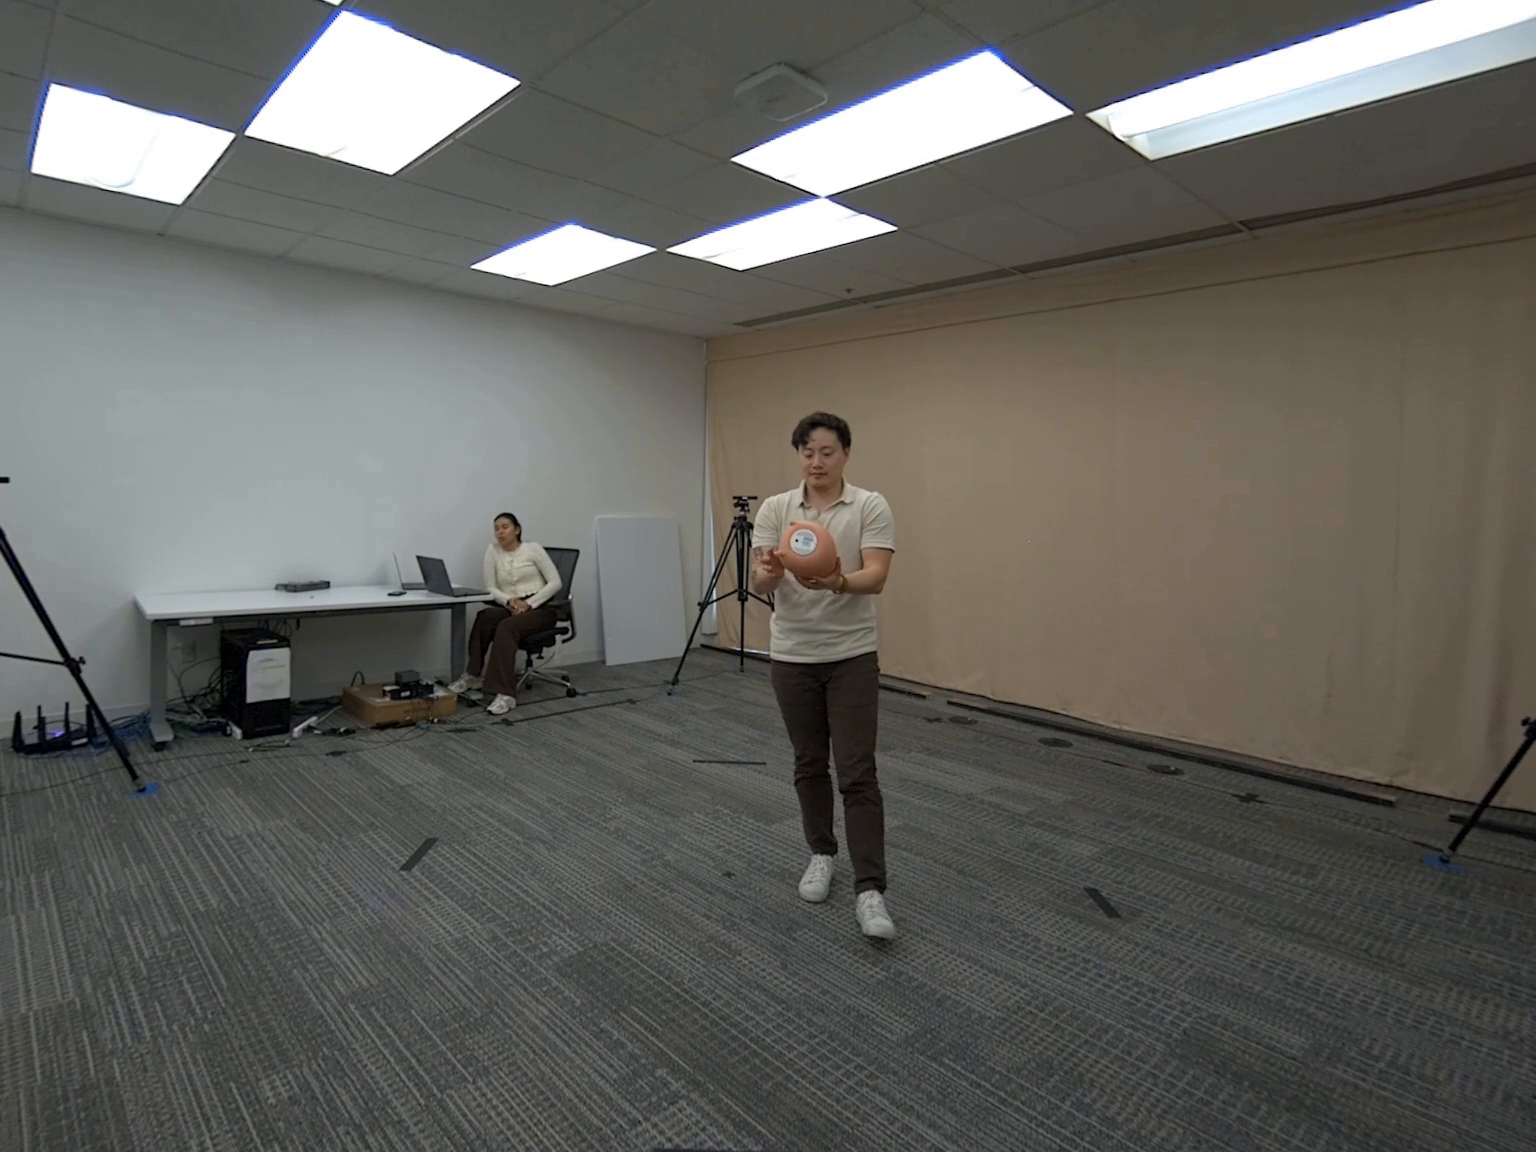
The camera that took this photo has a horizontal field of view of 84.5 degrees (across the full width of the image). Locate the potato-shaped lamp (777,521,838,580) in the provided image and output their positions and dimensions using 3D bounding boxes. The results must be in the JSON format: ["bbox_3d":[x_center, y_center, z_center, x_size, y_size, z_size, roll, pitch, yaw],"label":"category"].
[{"bbox_3d":[0.115,-0.068,2.543,0.173,0.166,0.194,10,-17,10],"label":"potato-shaped lamp"}]
